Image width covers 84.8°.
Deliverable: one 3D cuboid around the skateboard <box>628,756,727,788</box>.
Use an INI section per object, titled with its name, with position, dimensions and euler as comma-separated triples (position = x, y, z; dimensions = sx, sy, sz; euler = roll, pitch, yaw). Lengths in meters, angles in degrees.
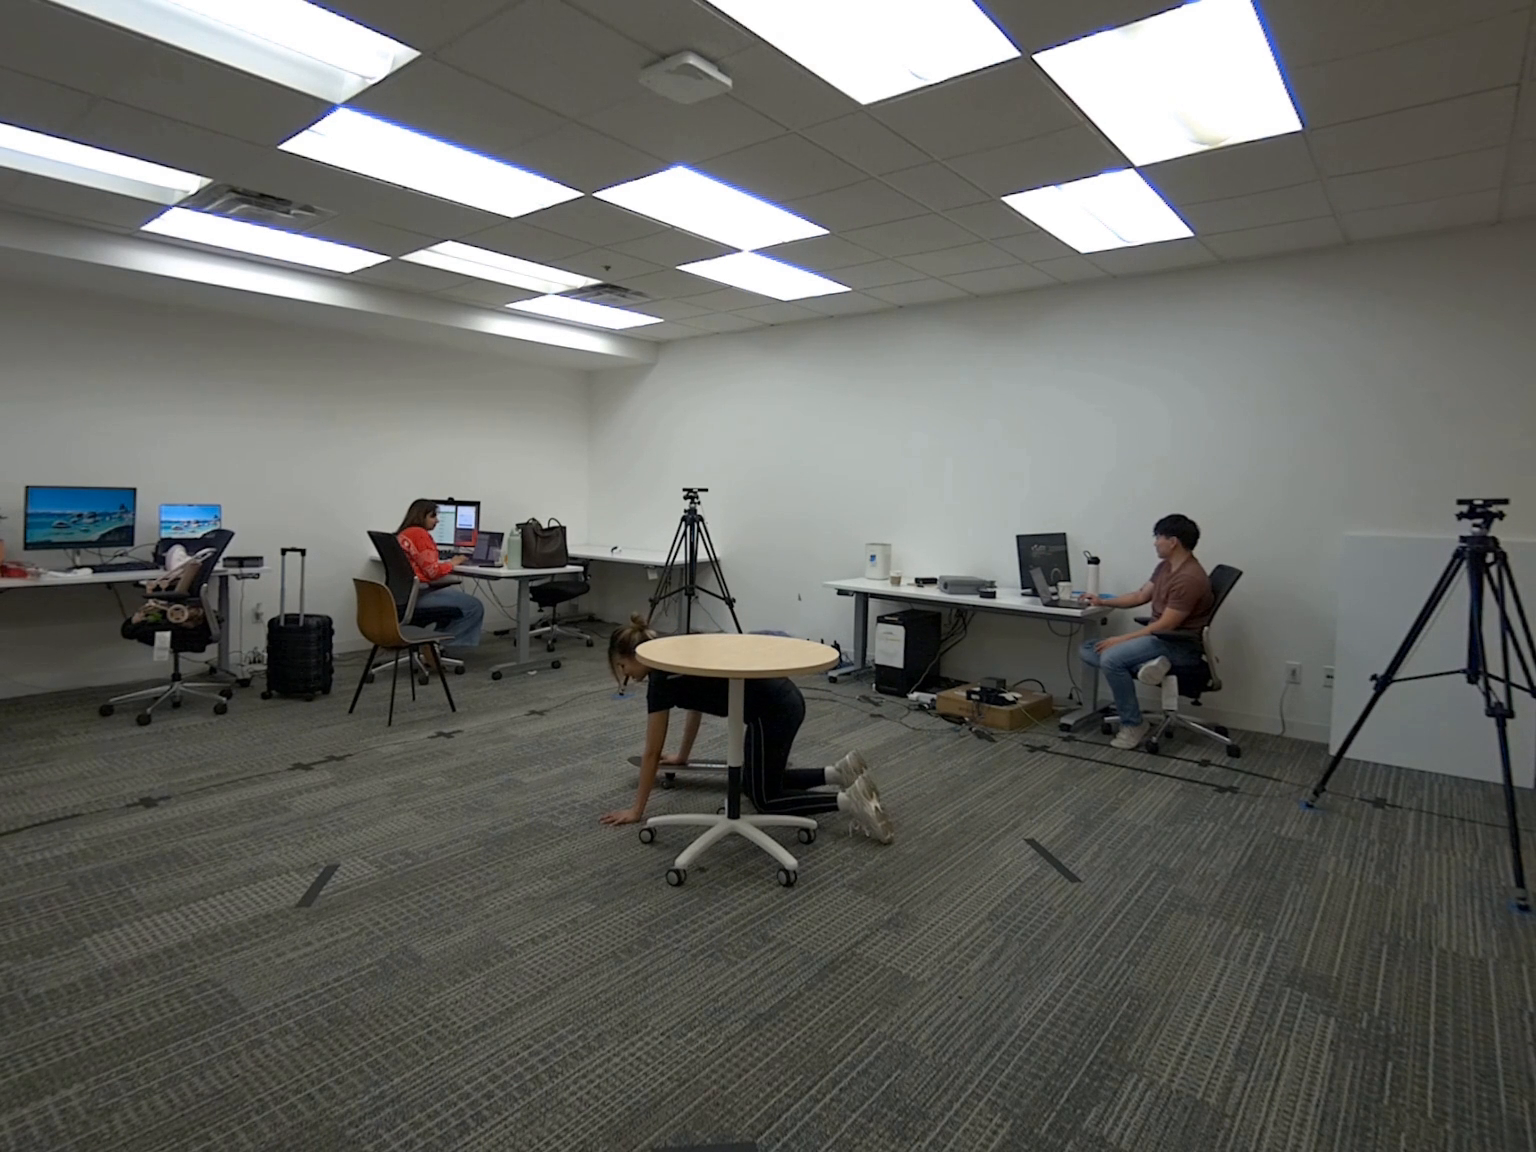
[skateboard]
position = -0.291, 0.922, 4.010
dimensions = 0.791, 0.110, 0.192
euler = 2, 2, 6
